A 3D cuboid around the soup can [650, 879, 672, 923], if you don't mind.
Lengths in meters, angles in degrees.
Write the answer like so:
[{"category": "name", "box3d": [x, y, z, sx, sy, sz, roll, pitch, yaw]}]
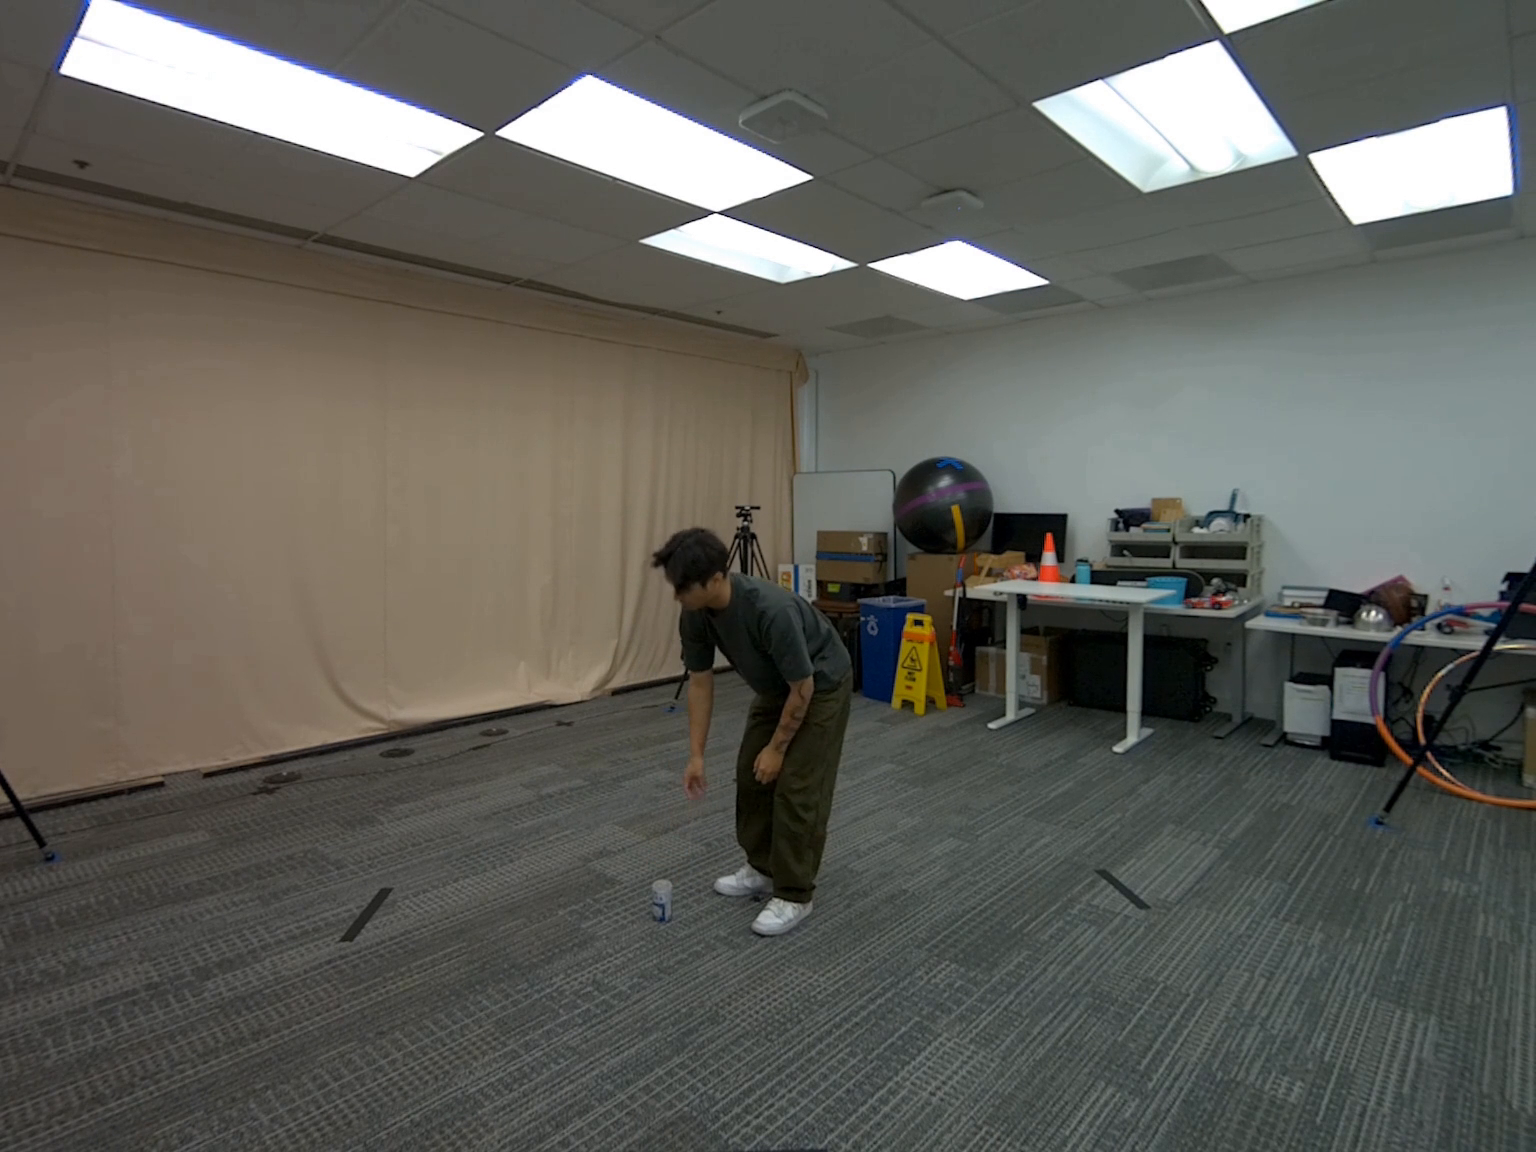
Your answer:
[{"category": "soup can", "box3d": [-0.354, 1.104, 2.846, 0.067, 0.121, 0.067, -1, 3, -2]}]
